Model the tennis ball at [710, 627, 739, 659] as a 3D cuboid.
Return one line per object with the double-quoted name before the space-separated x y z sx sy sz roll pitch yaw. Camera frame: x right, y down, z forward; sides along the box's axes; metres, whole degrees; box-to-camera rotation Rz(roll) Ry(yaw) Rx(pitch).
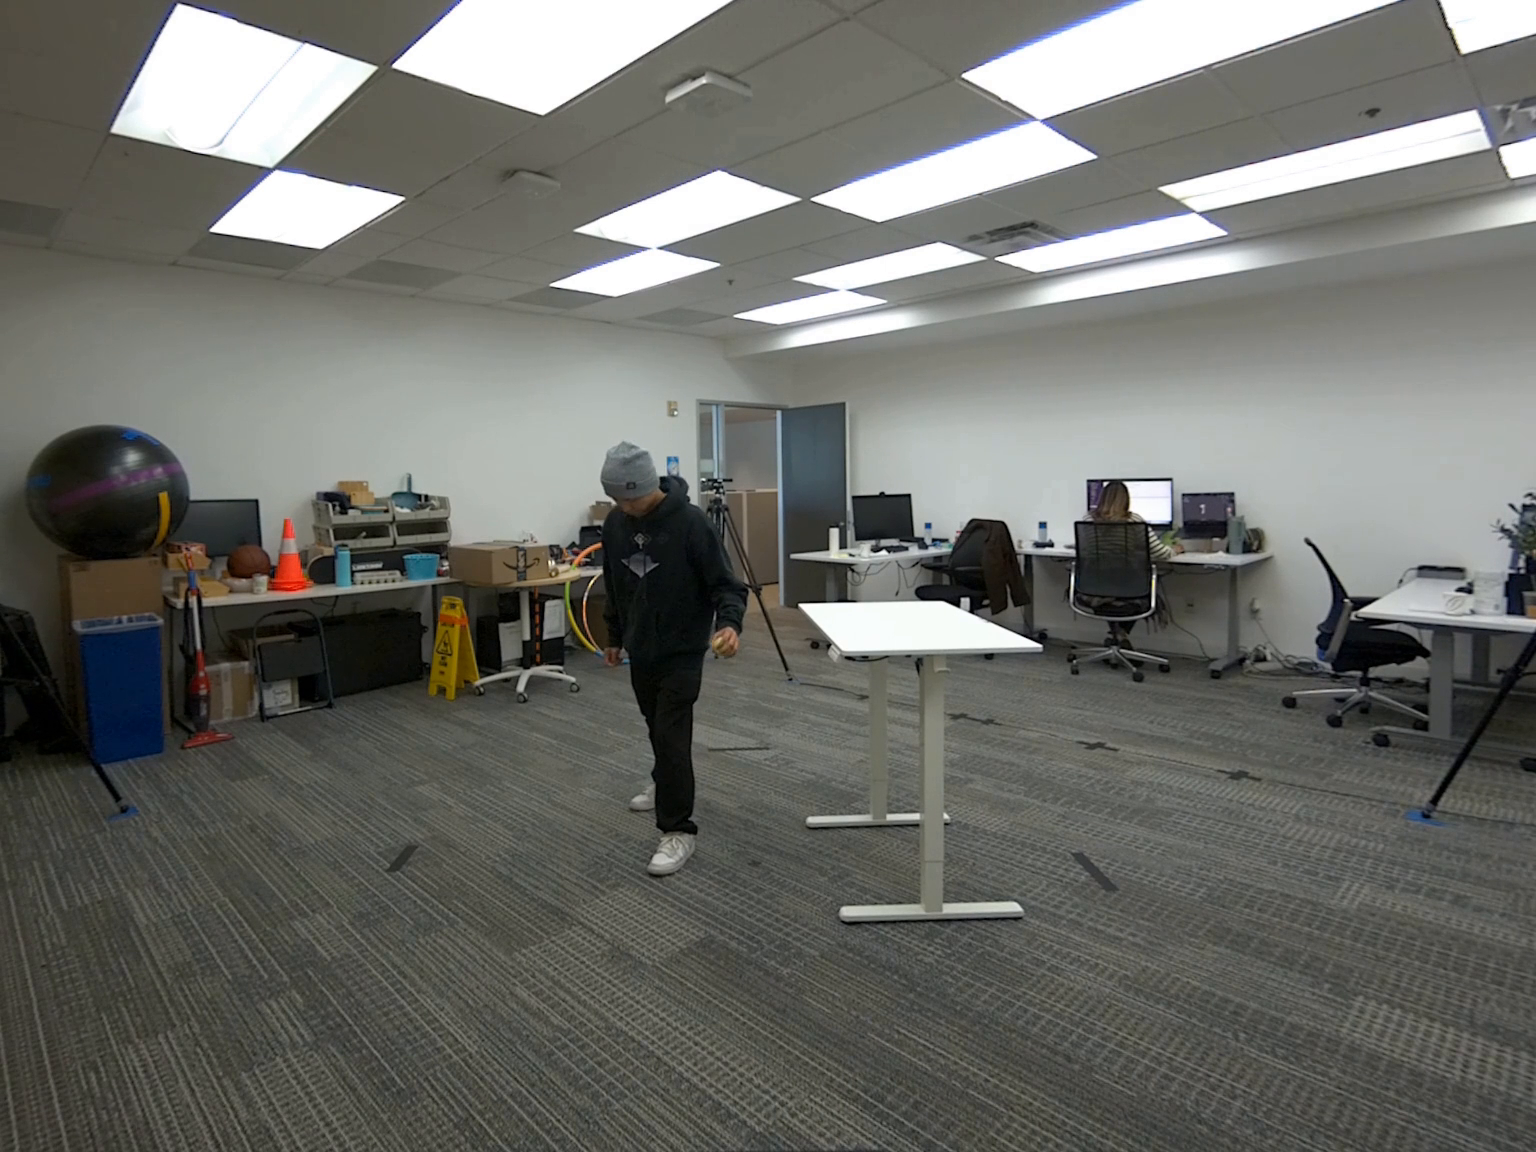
"tennis ball" -0.153 0.214 2.930 0.066 0.066 0.067 -1 5 -2
